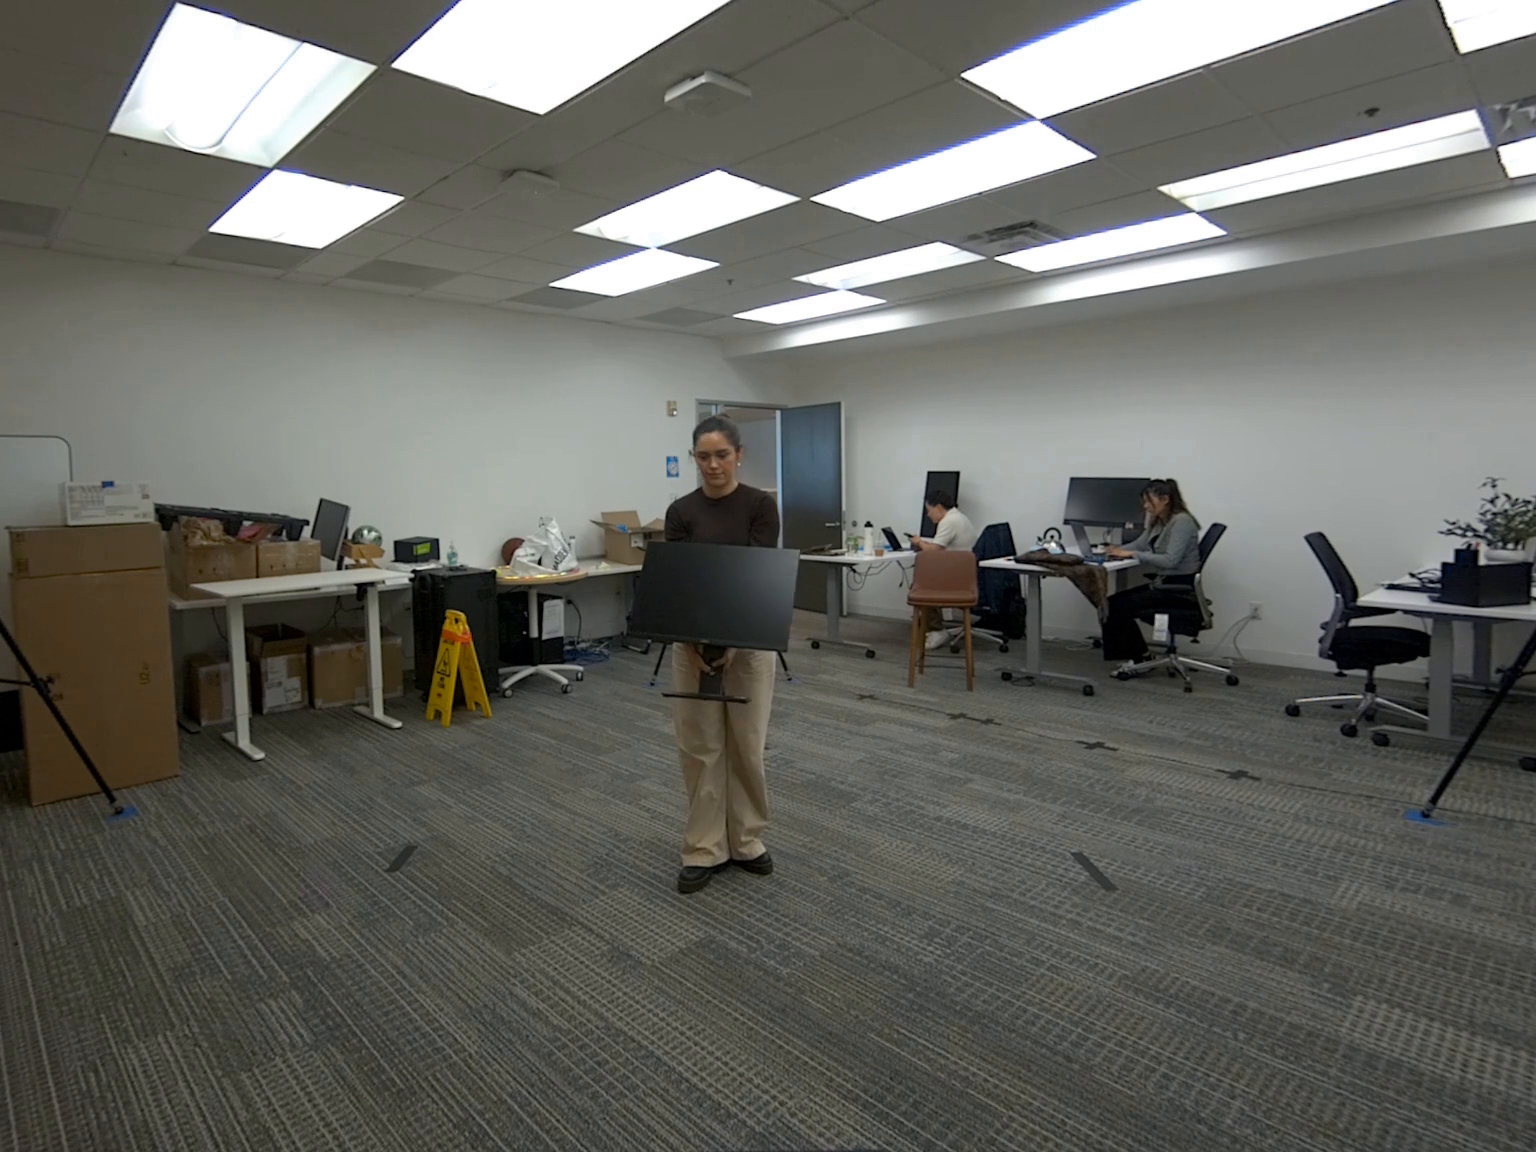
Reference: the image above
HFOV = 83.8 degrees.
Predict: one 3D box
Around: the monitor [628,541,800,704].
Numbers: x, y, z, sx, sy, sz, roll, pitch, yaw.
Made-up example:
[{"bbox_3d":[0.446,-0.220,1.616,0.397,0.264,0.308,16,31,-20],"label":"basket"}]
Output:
[{"bbox_3d":[-0.178,0.156,2.832,0.546,0.527,0.183,3,-10,12],"label":"monitor"}]
